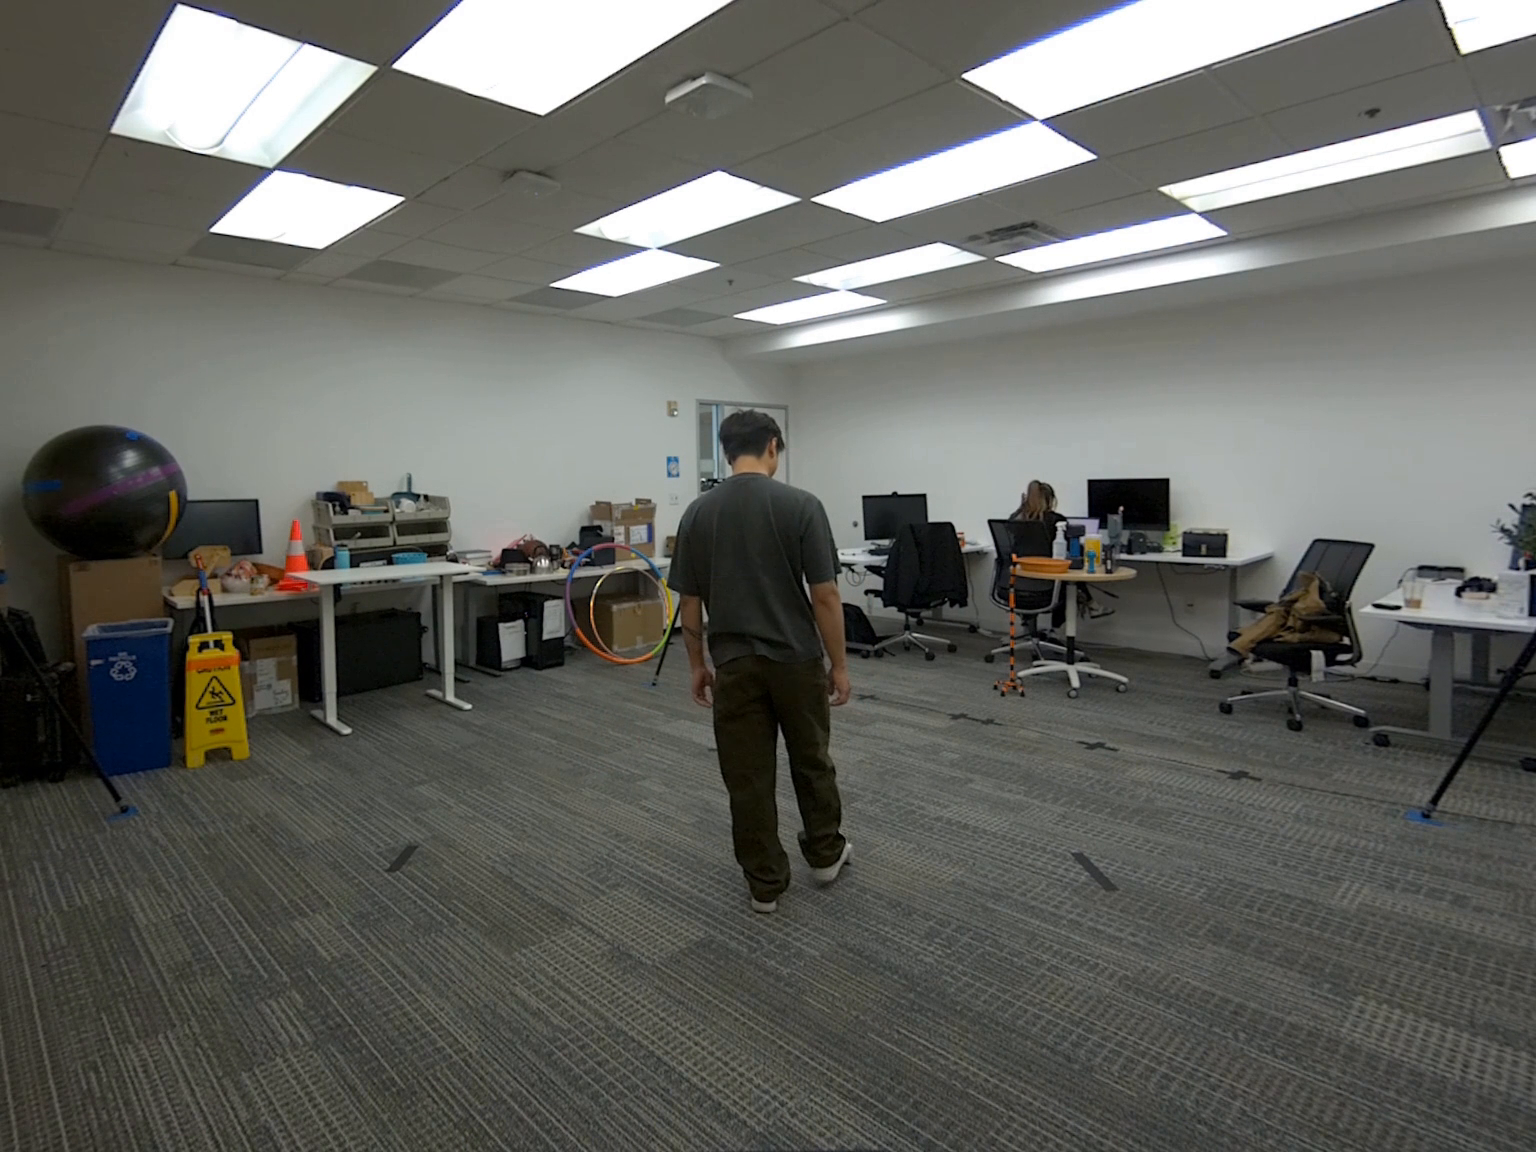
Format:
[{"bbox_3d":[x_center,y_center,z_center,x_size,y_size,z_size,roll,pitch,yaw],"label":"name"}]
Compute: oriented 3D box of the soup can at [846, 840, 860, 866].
[{"bbox_3d":[0.262,1.006,3.117,0.123,0.067,0.066,-5,4,14],"label":"soup can"}]
